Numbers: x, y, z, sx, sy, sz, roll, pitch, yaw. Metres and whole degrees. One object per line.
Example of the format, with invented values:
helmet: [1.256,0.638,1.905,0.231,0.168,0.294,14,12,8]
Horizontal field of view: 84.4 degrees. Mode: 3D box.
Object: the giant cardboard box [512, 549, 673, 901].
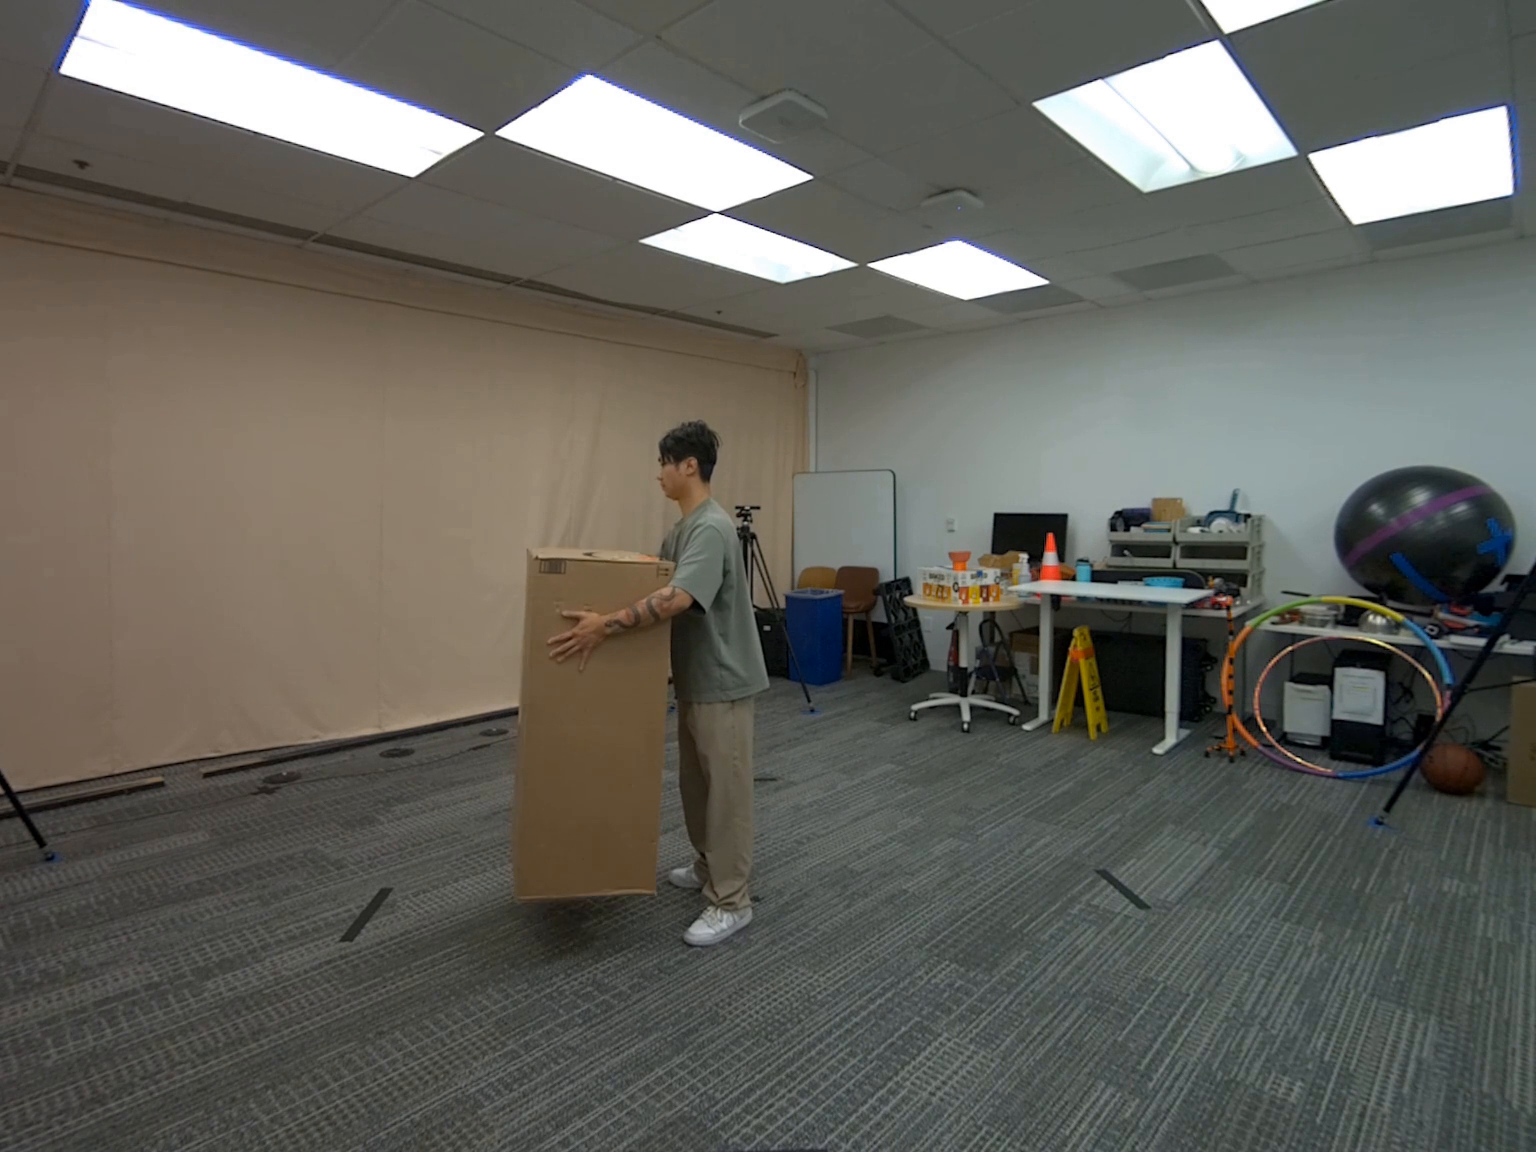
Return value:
giant cardboard box: [-0.603,0.450,2.787,0.419,1.025,0.587,3,2,-16]
